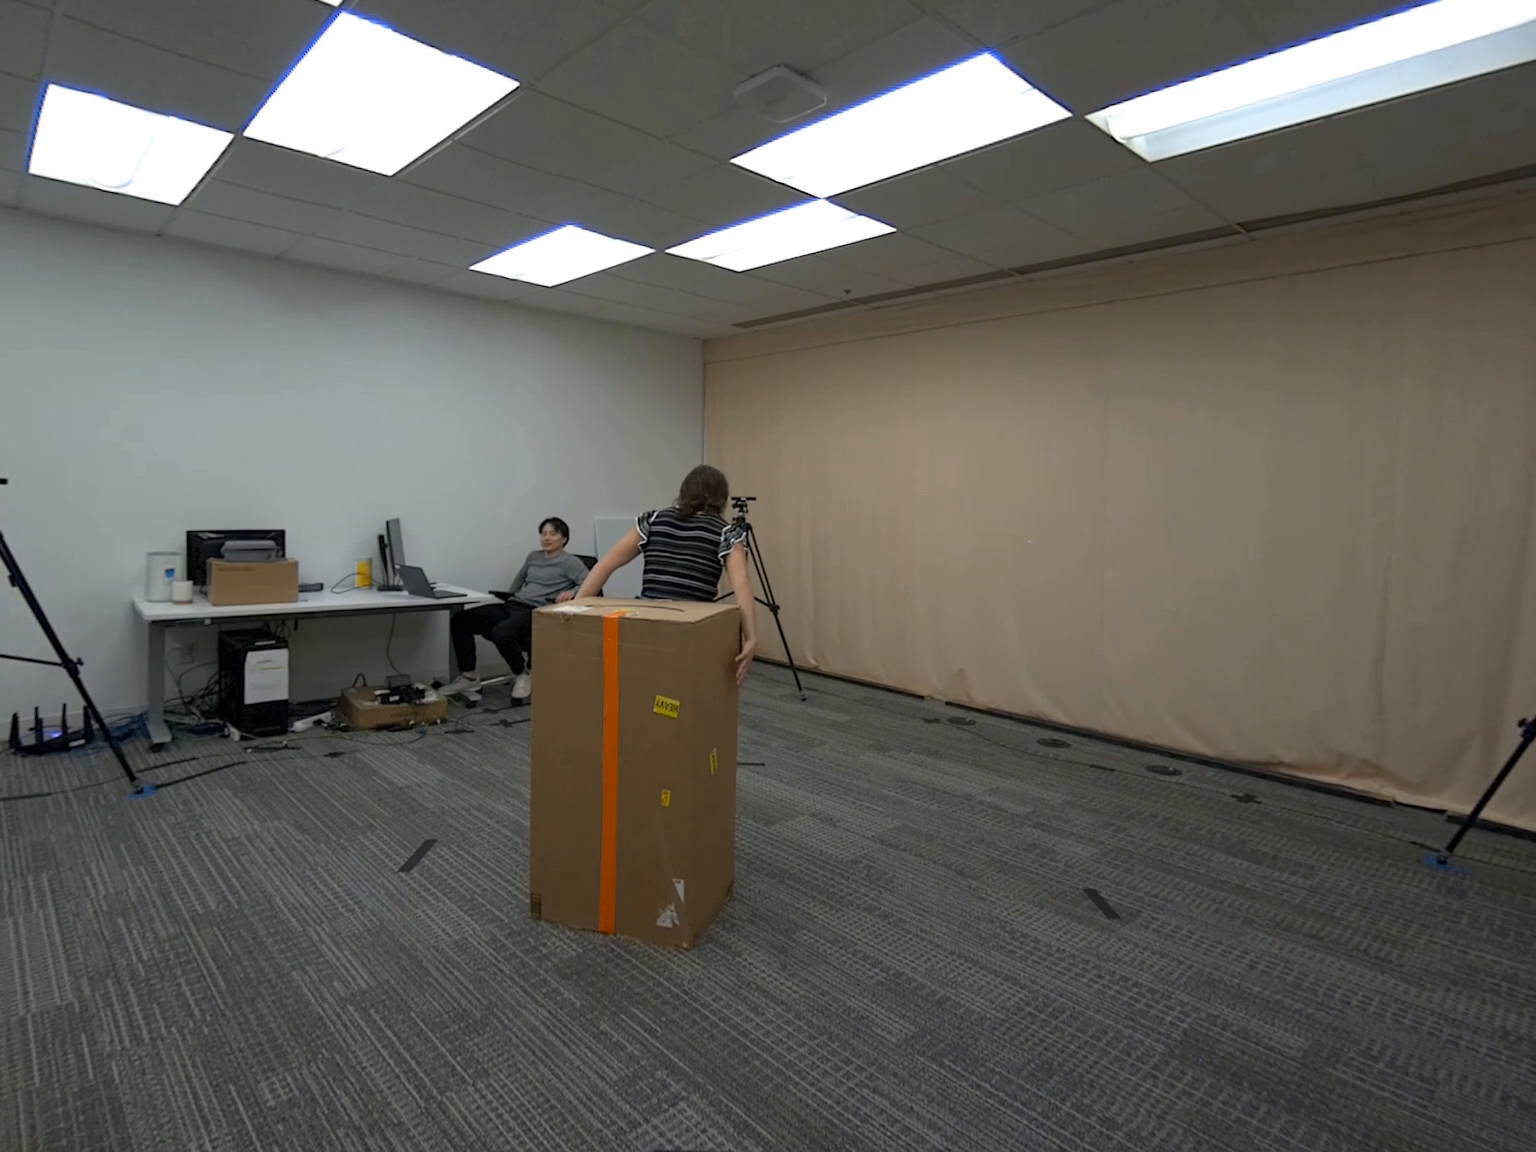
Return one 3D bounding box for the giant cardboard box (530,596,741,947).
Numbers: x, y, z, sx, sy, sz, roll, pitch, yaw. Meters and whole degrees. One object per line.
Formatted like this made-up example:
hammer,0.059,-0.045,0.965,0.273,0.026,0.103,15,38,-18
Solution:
giant cardboard box,-0.442,0.613,2.840,0.586,1.023,0.421,3,4,17
